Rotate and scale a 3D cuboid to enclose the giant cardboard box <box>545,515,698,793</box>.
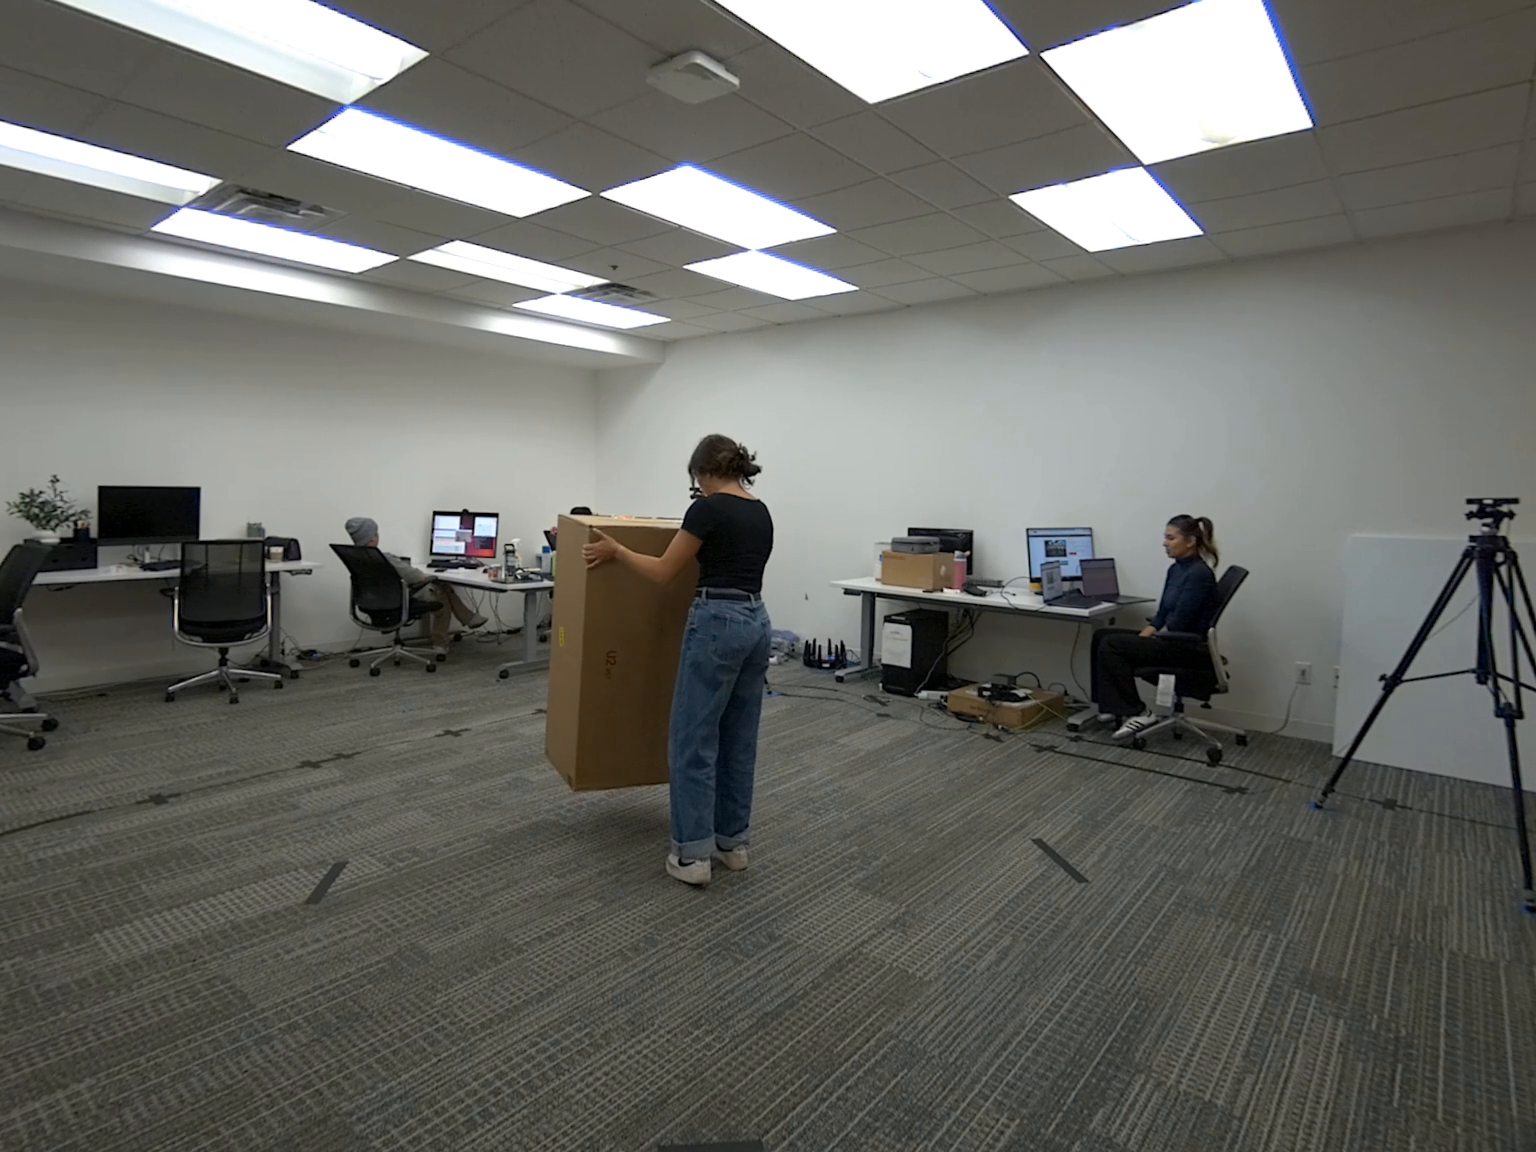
[{"bbox_3d":[-0.567,0.294,3.477,0.562,1.021,0.440,1,7,-29],"label":"giant cardboard box"}]
